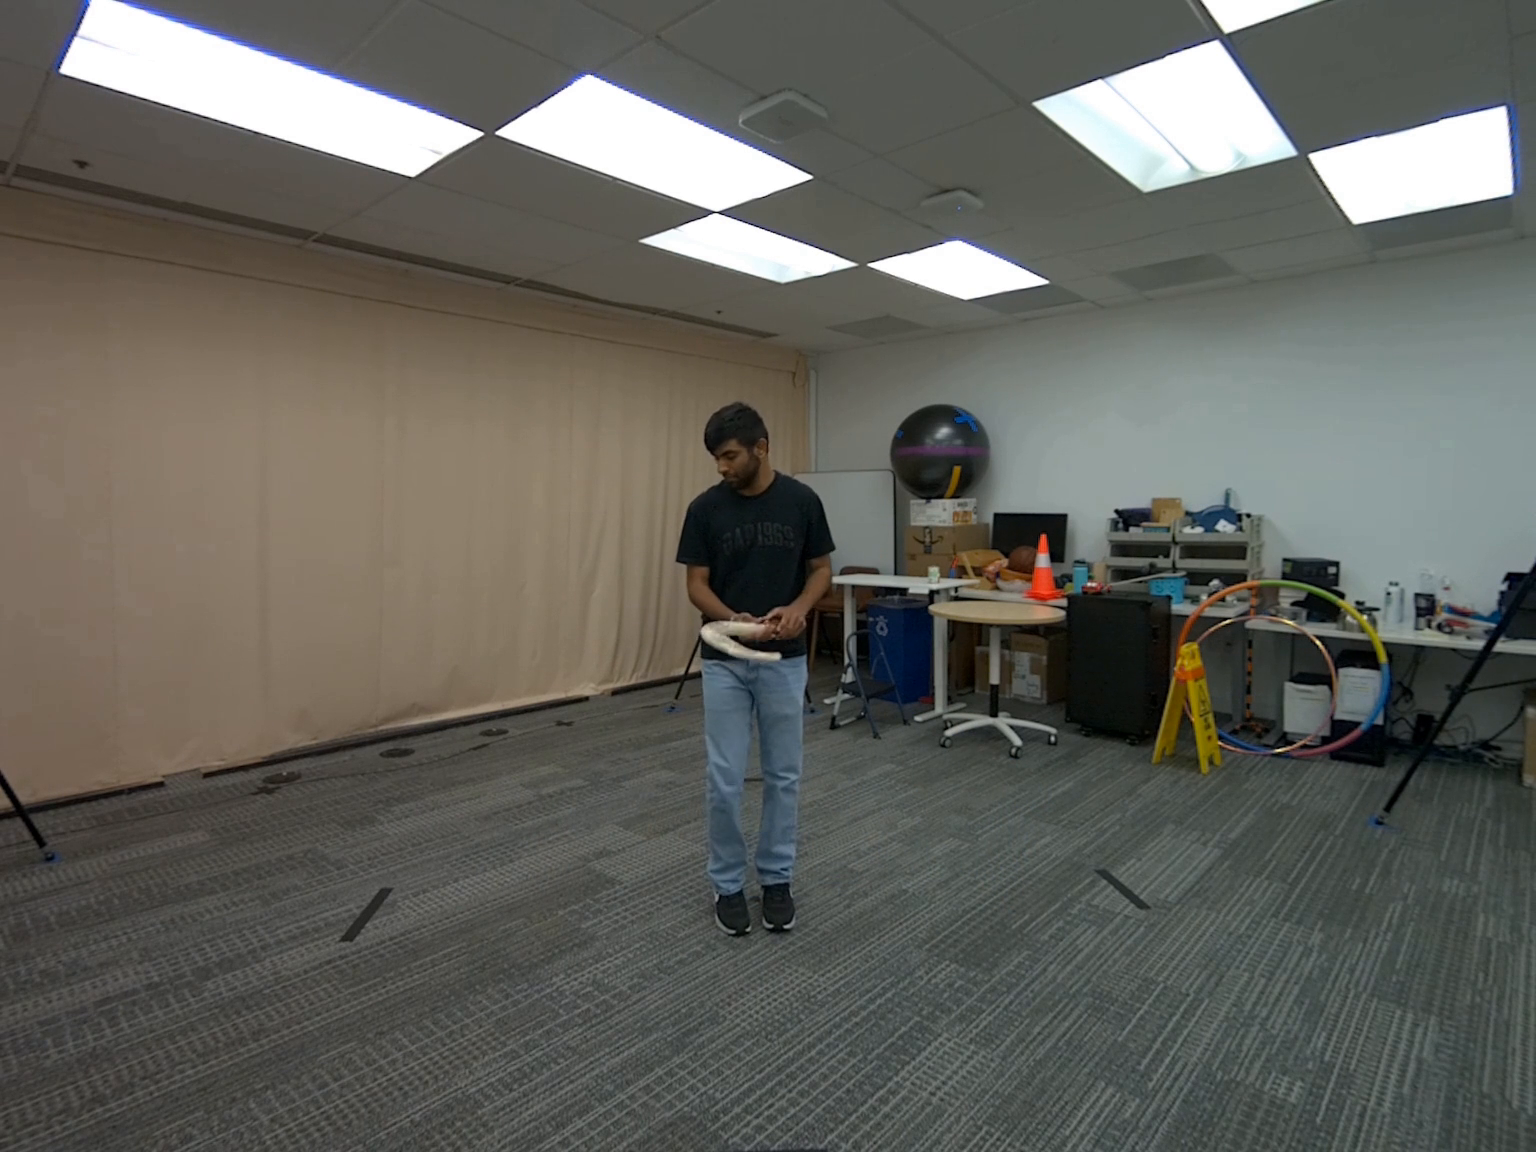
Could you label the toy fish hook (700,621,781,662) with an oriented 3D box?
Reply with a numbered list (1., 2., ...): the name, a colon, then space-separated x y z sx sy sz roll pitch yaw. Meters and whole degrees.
1. toy fish hook: -0.014 0.187 2.500 0.231 0.048 0.493 30 18 25
